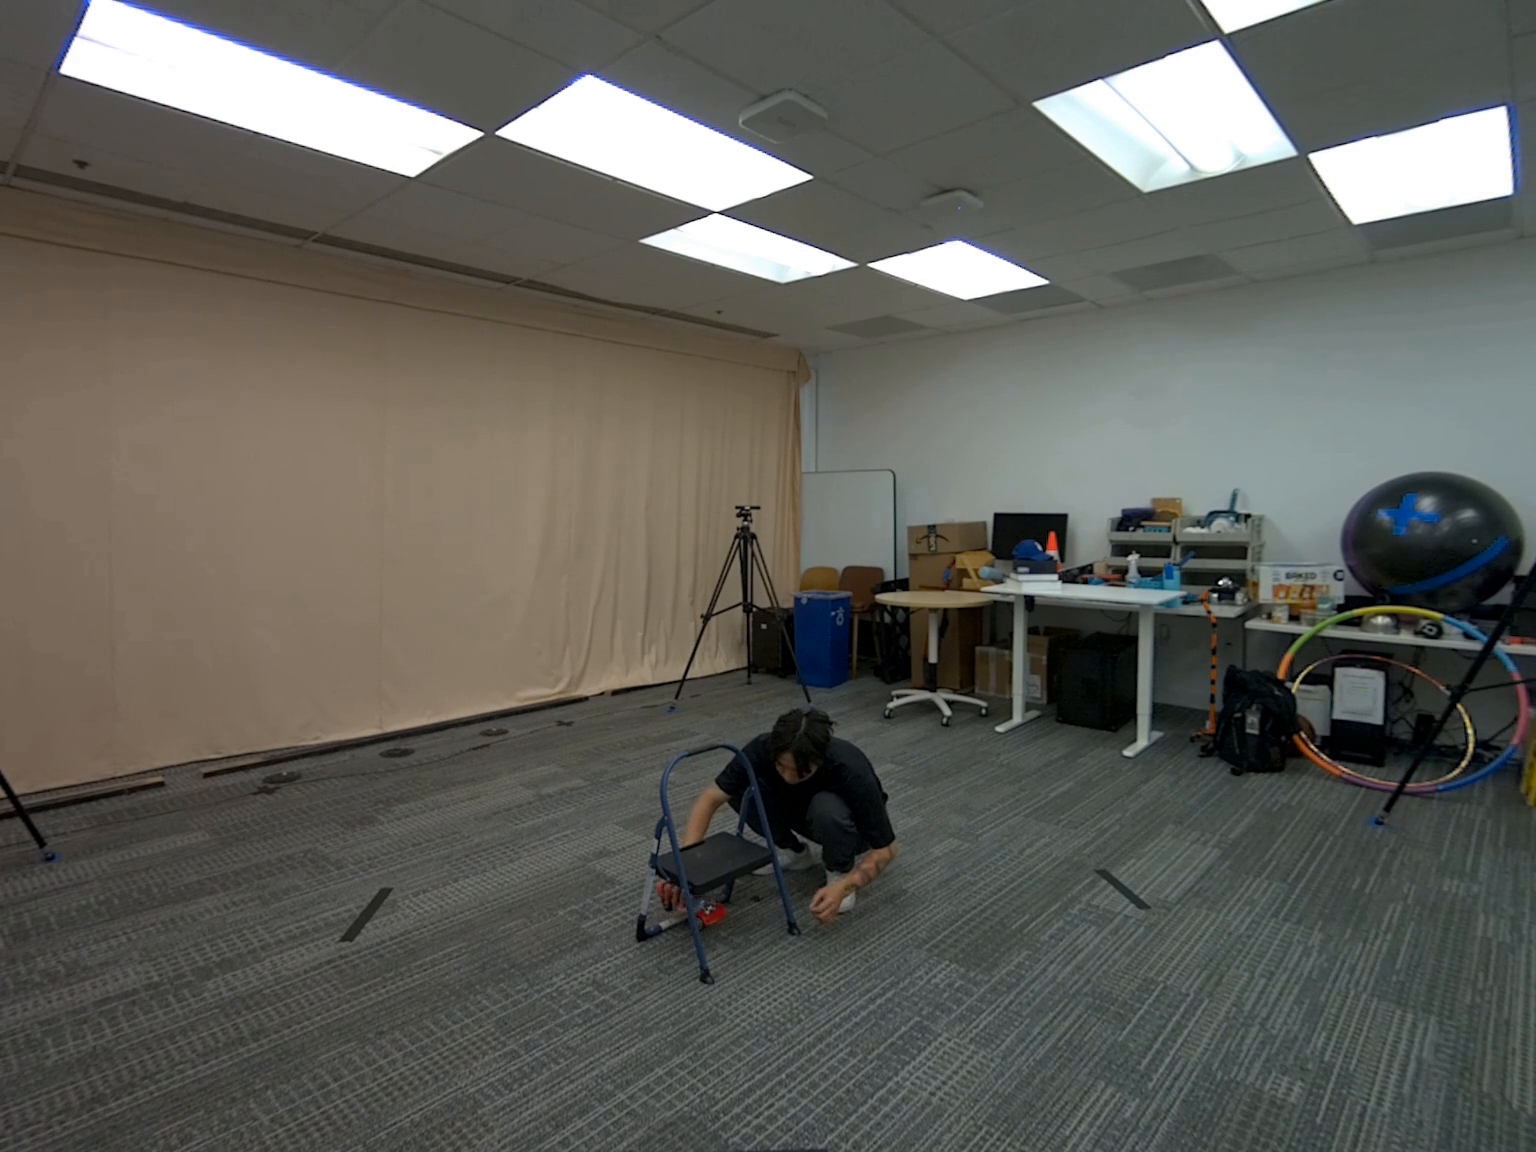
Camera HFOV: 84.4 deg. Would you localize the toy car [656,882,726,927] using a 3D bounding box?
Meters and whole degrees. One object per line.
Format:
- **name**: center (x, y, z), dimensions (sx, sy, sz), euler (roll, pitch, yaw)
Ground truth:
- **toy car**: center (-0.252, 1.091, 2.786), dimensions (0.264, 0.083, 0.126), euler (20, 14, 37)
